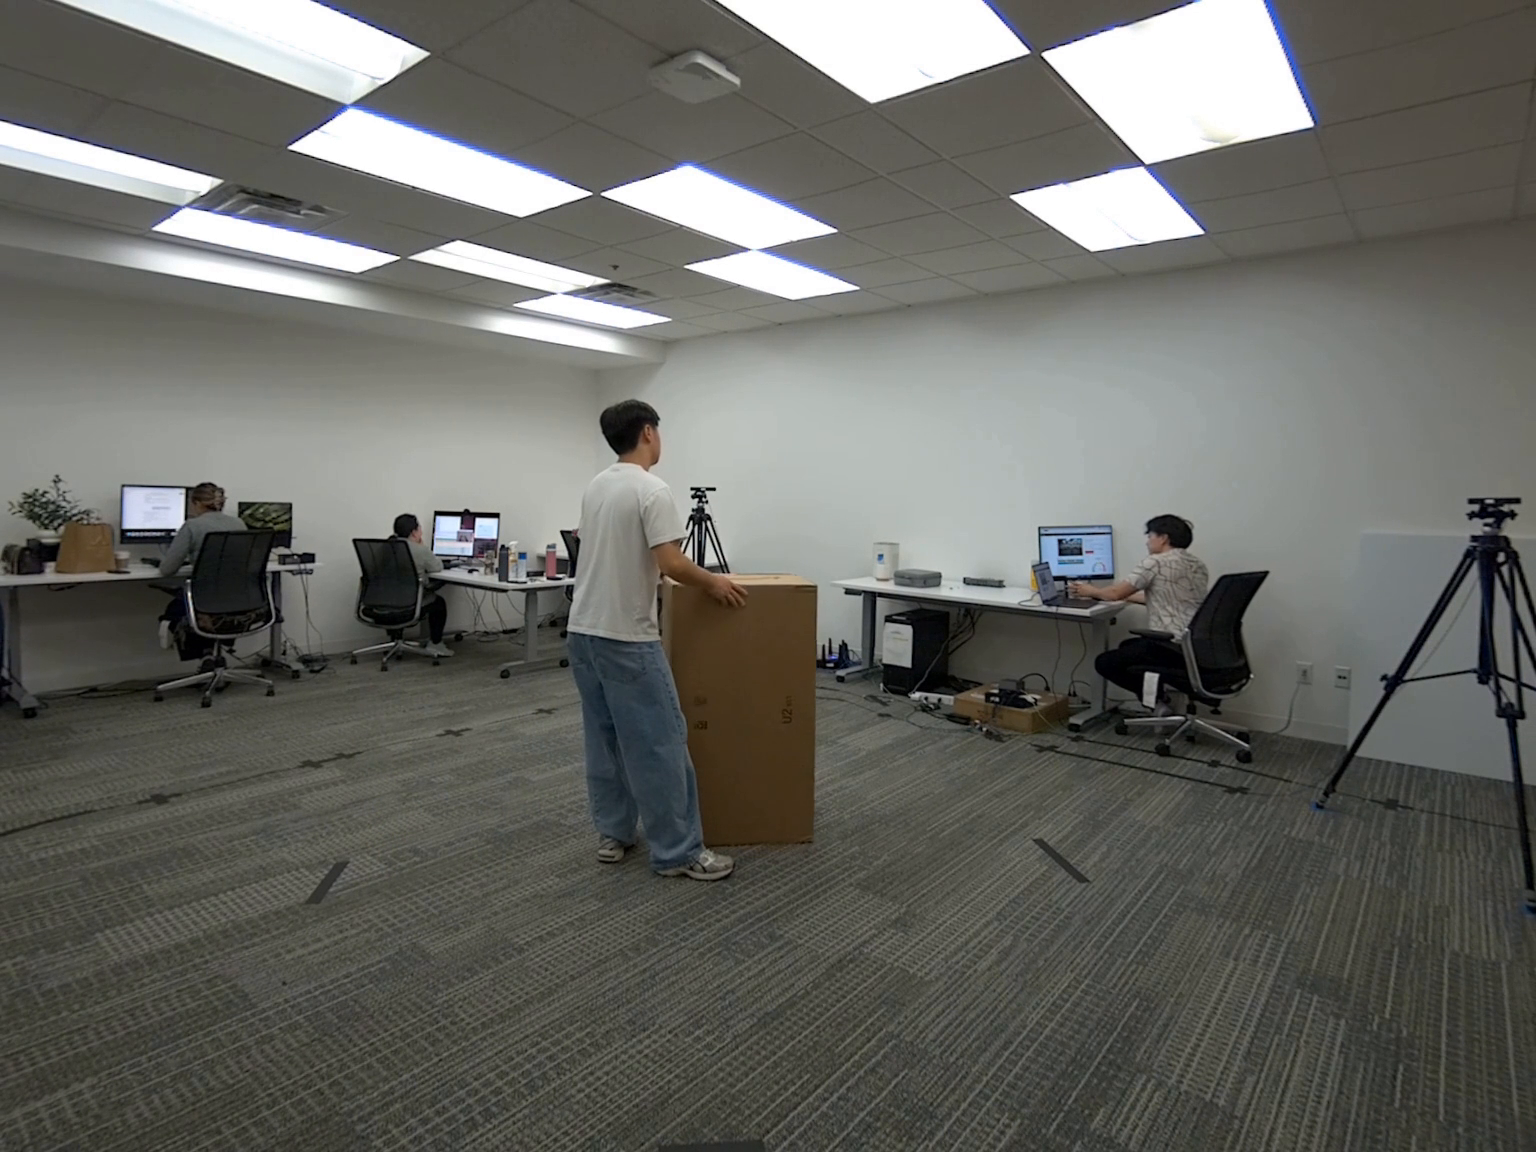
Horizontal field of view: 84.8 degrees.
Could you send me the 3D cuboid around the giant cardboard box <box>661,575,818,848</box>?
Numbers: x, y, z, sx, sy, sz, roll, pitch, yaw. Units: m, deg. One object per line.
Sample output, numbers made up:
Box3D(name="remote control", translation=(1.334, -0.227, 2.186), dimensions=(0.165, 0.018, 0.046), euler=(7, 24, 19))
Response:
Box3D(name="giant cardboard box", translation=(-0.143, 0.518, 3.507), dimensions=(0.573, 1.023, 0.431), euler=(0, 3, -8))
